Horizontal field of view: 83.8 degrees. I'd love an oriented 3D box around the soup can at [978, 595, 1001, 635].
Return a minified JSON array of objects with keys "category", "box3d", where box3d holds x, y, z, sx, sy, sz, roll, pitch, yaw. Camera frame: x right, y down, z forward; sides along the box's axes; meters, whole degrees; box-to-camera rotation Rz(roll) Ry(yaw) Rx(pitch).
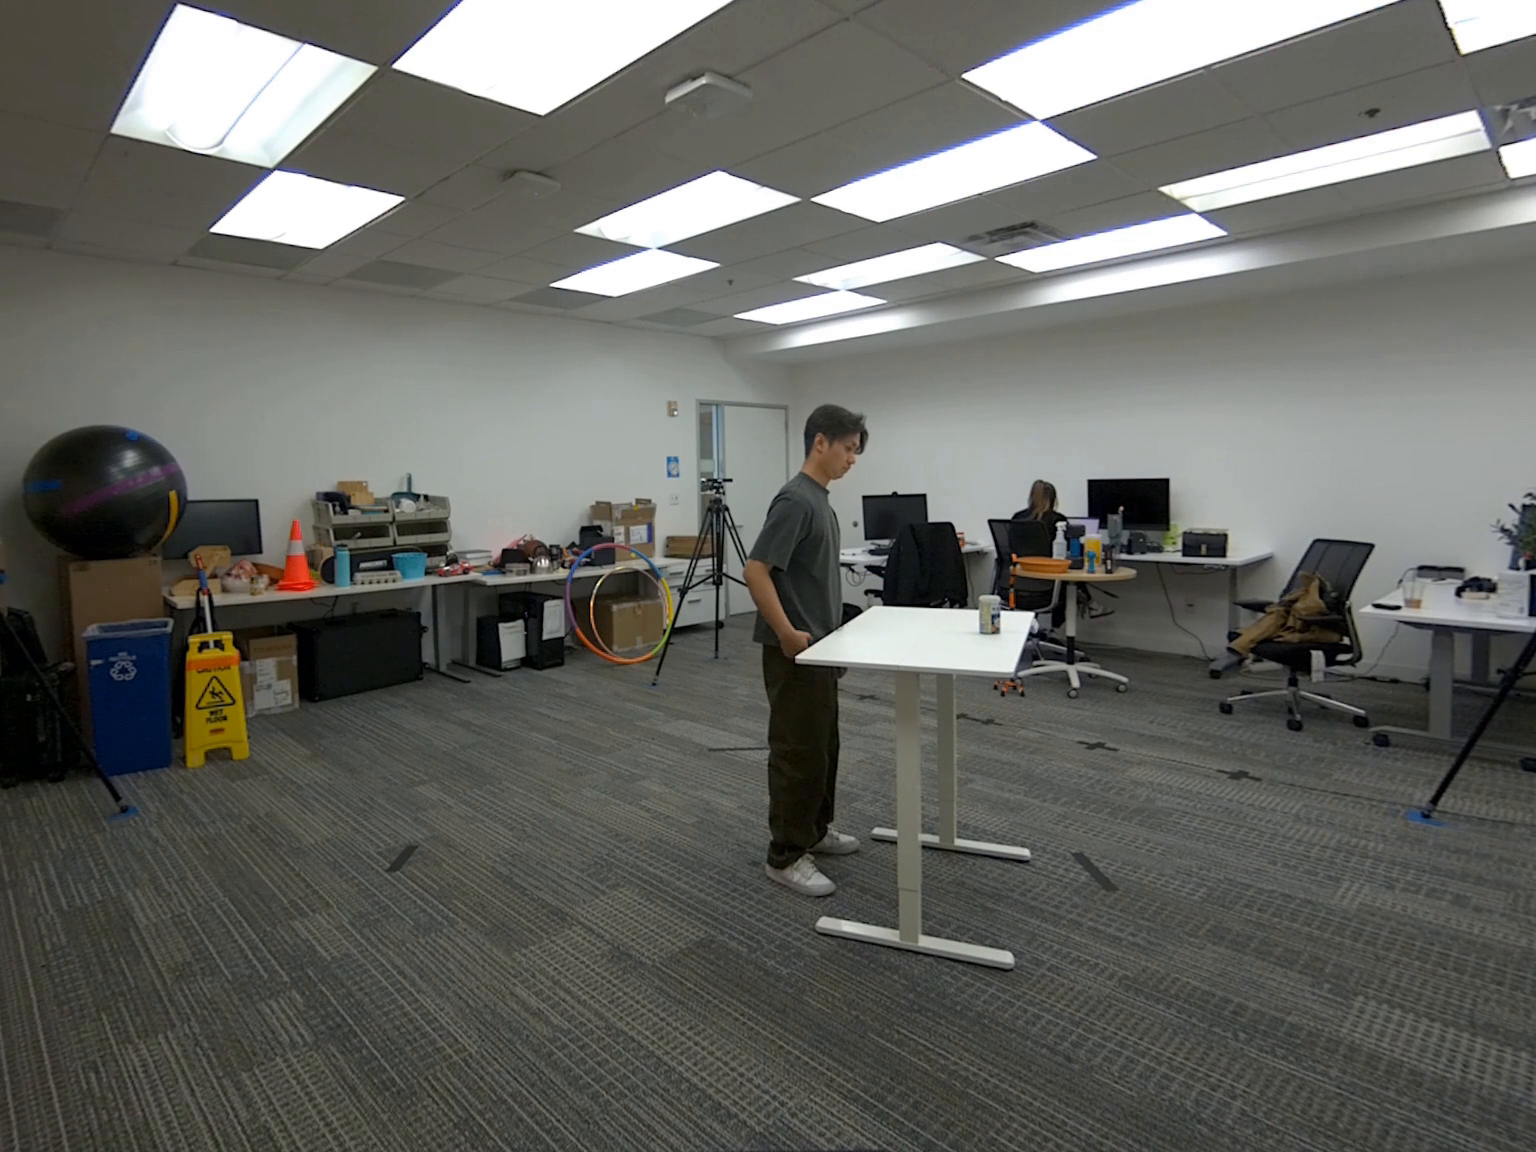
[{"category":"soup can","box3d":[0.719,0.128,2.770,0.067,0.121,0.067,2,4,-2]}]
